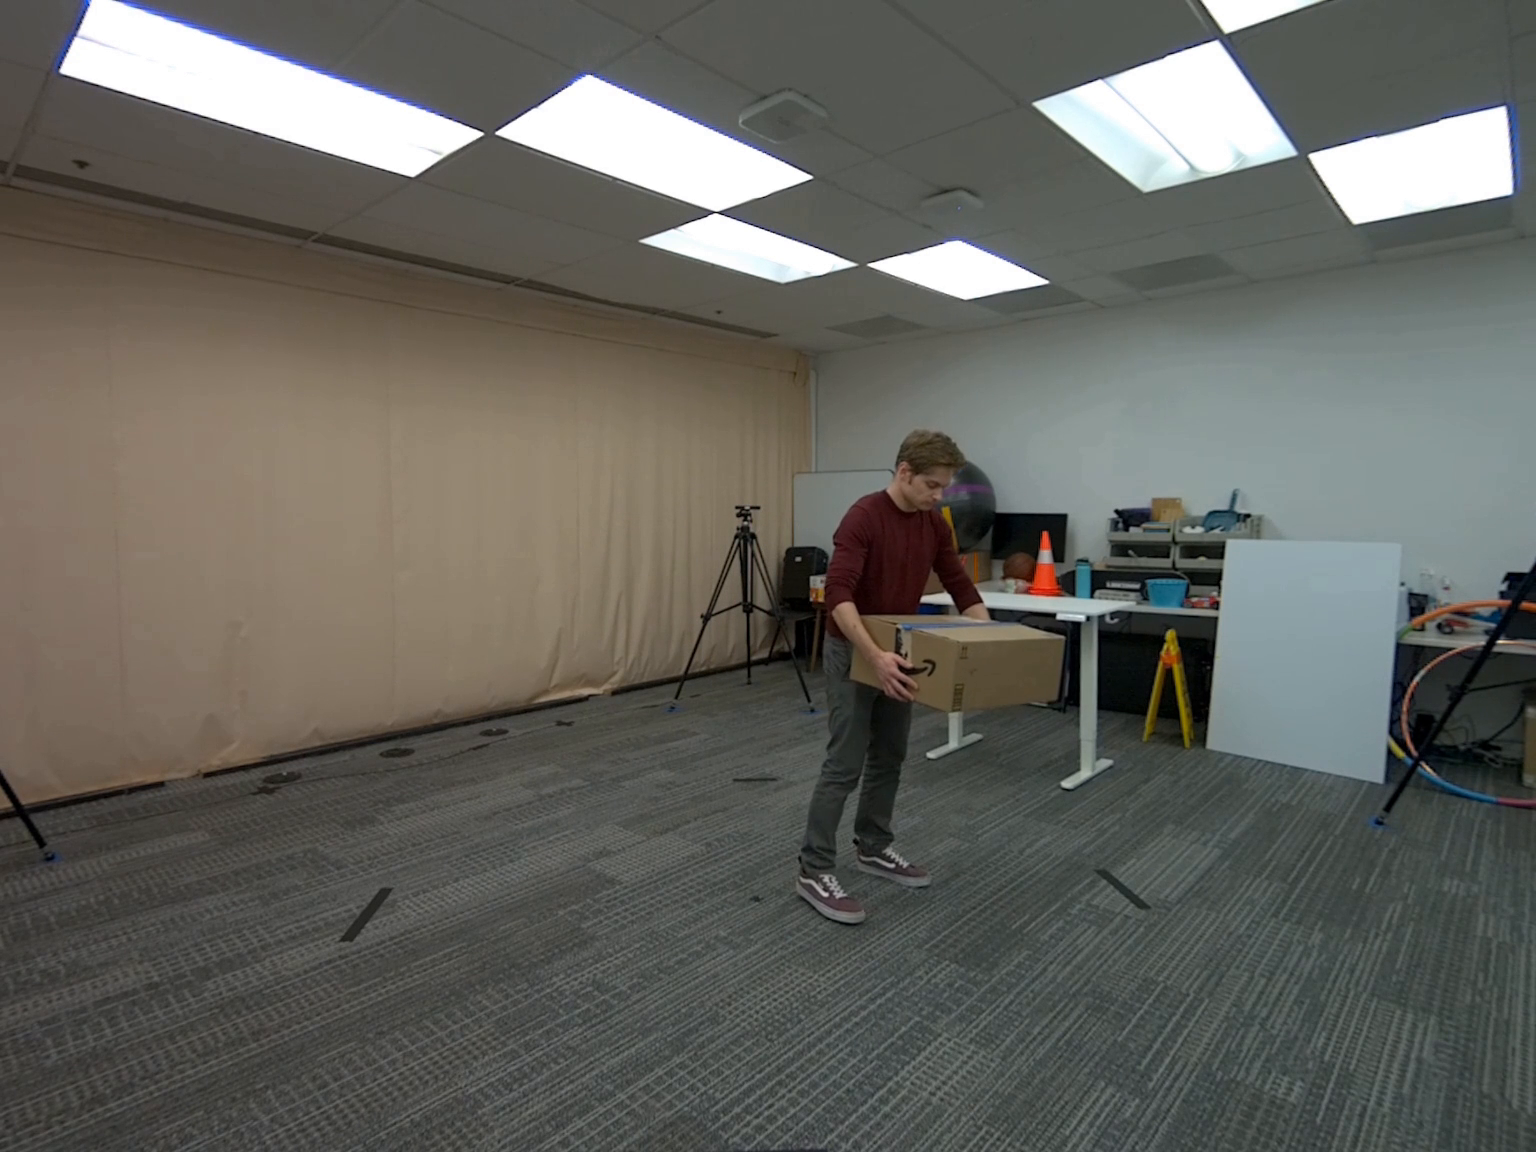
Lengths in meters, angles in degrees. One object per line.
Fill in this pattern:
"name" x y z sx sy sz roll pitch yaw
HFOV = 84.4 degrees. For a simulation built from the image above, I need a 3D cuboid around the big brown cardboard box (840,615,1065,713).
"big brown cardboard box" 0.629 0.273 2.779 0.571 0.232 0.432 0 7 -39
